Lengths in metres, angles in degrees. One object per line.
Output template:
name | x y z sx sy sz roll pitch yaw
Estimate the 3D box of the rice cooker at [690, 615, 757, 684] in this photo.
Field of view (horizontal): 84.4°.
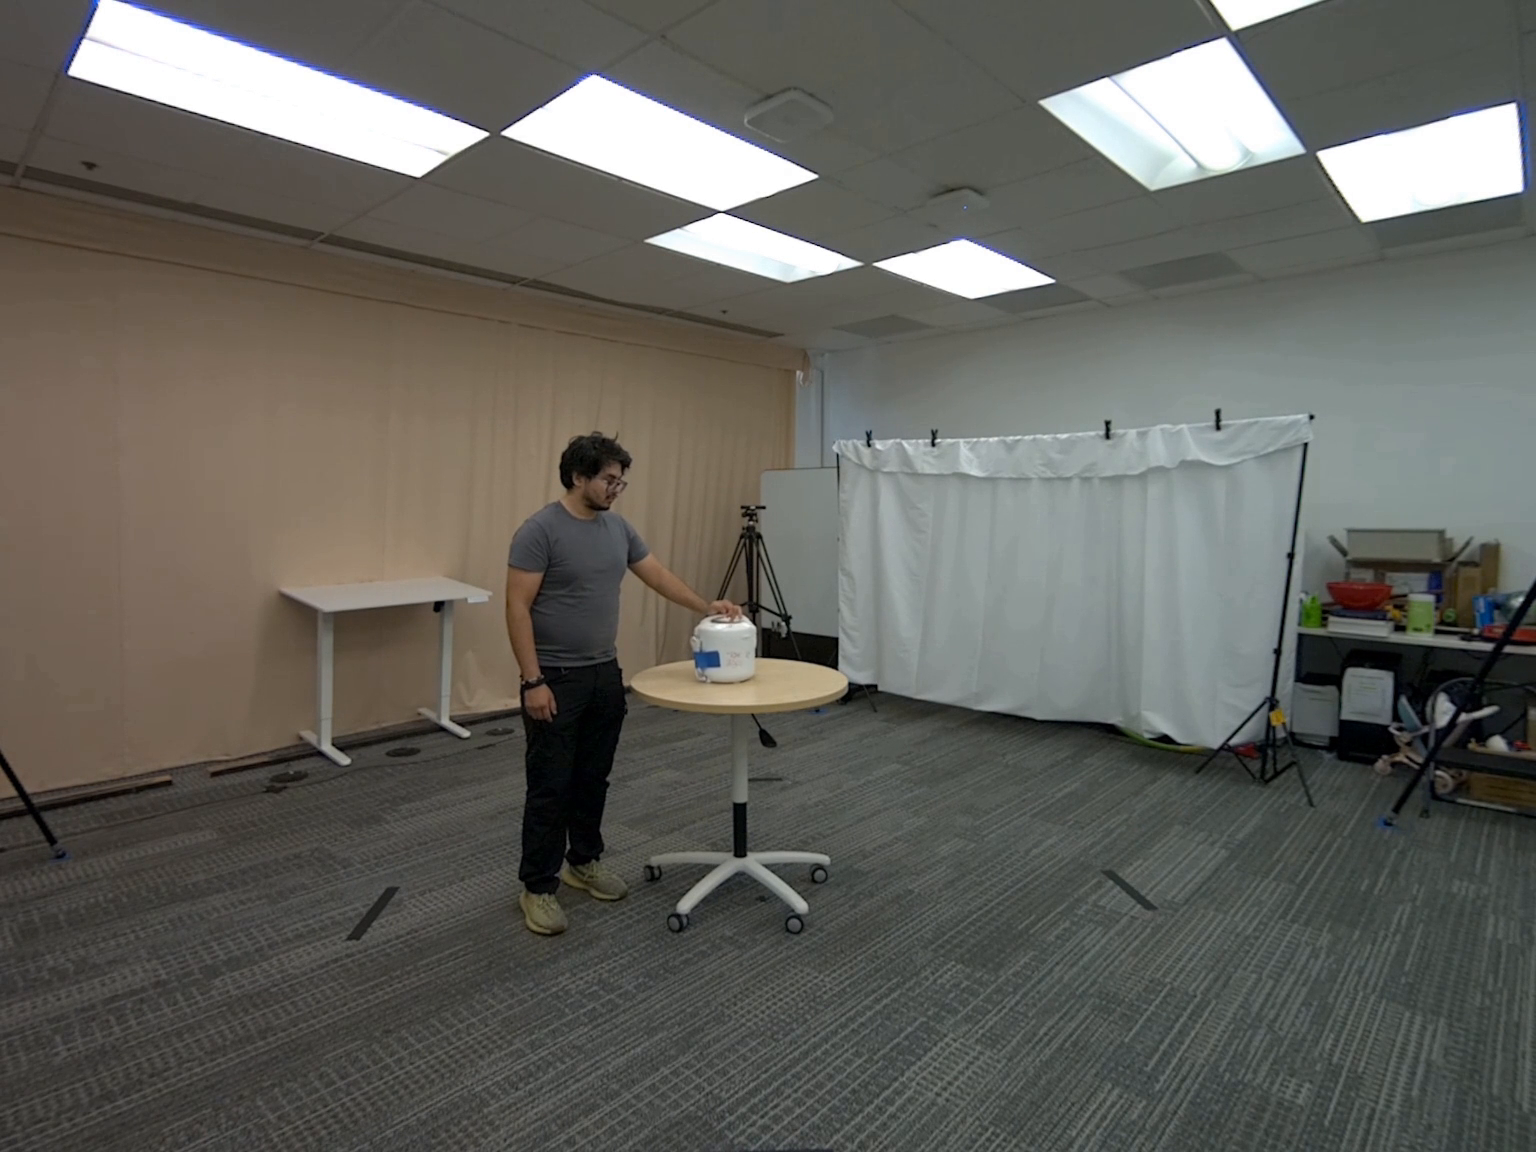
rice cooker | -0.148 0.248 2.975 0.223 0.232 0.216 1 5 8
